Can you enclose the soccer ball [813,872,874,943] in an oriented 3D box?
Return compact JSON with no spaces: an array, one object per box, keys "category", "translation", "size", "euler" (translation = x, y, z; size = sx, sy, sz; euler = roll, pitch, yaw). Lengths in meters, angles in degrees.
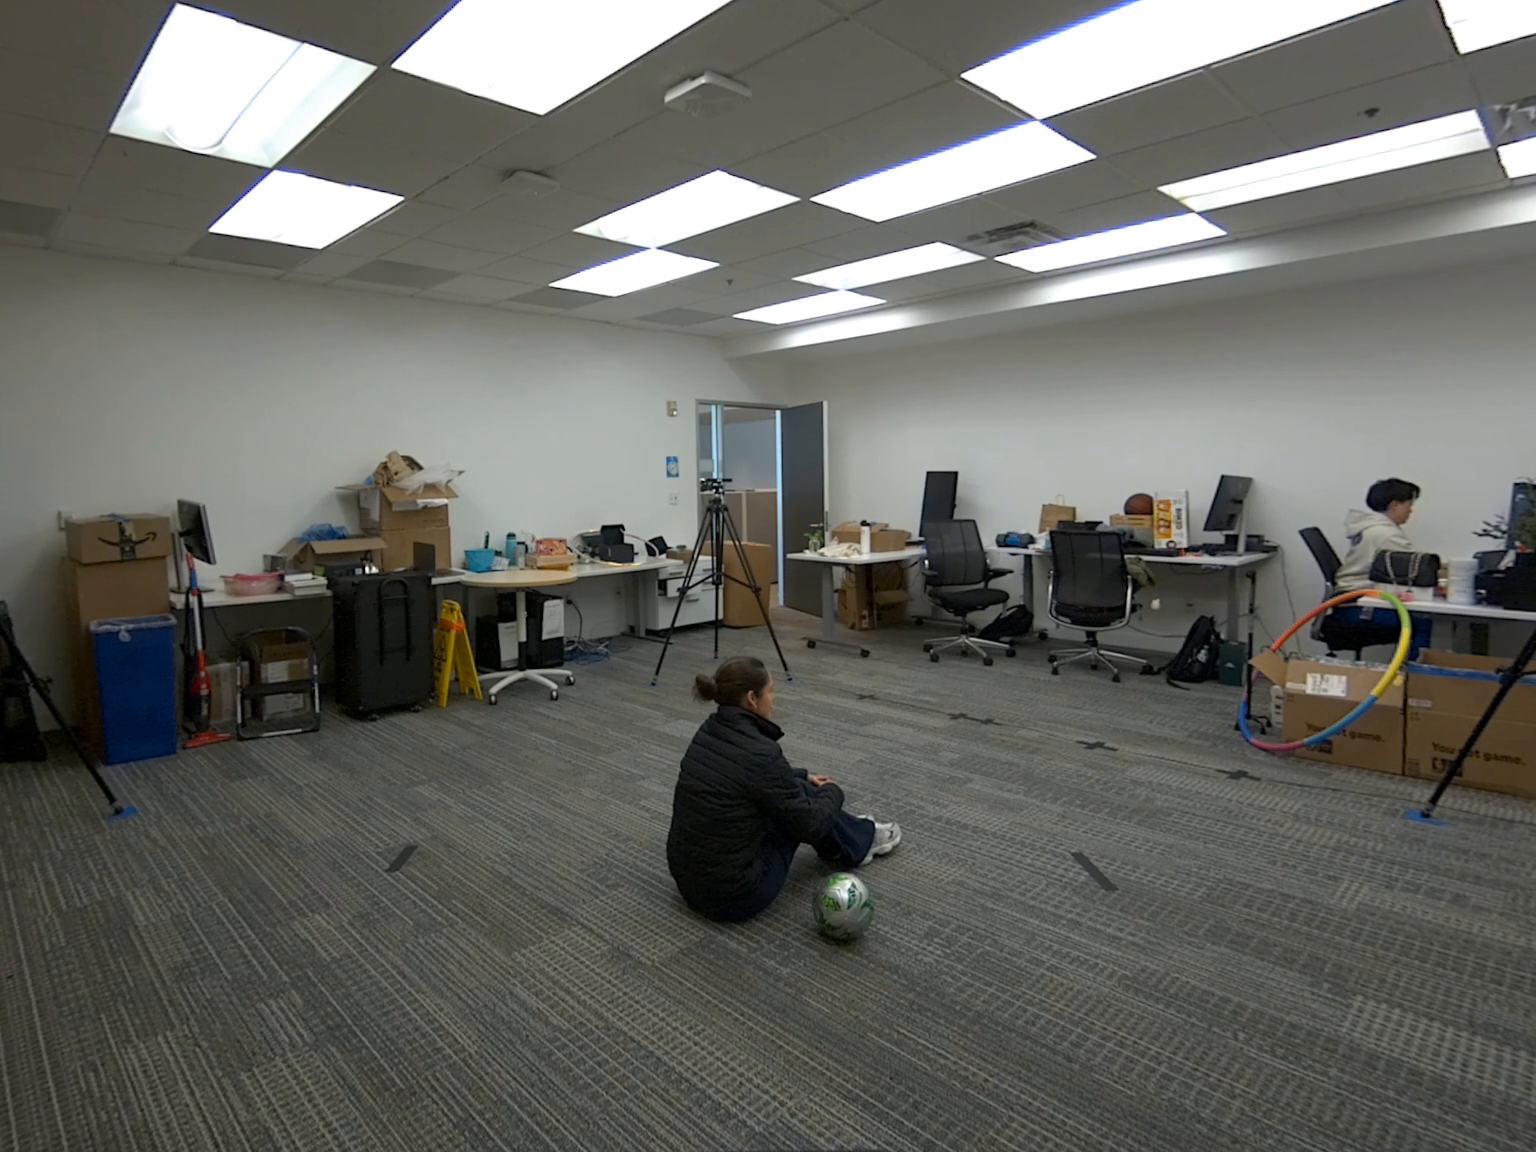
[{"category":"soccer ball","translation":[0.217,0.999,2.596],"size":[0.187,0.187,0.188],"euler":[0,1,-2]}]
